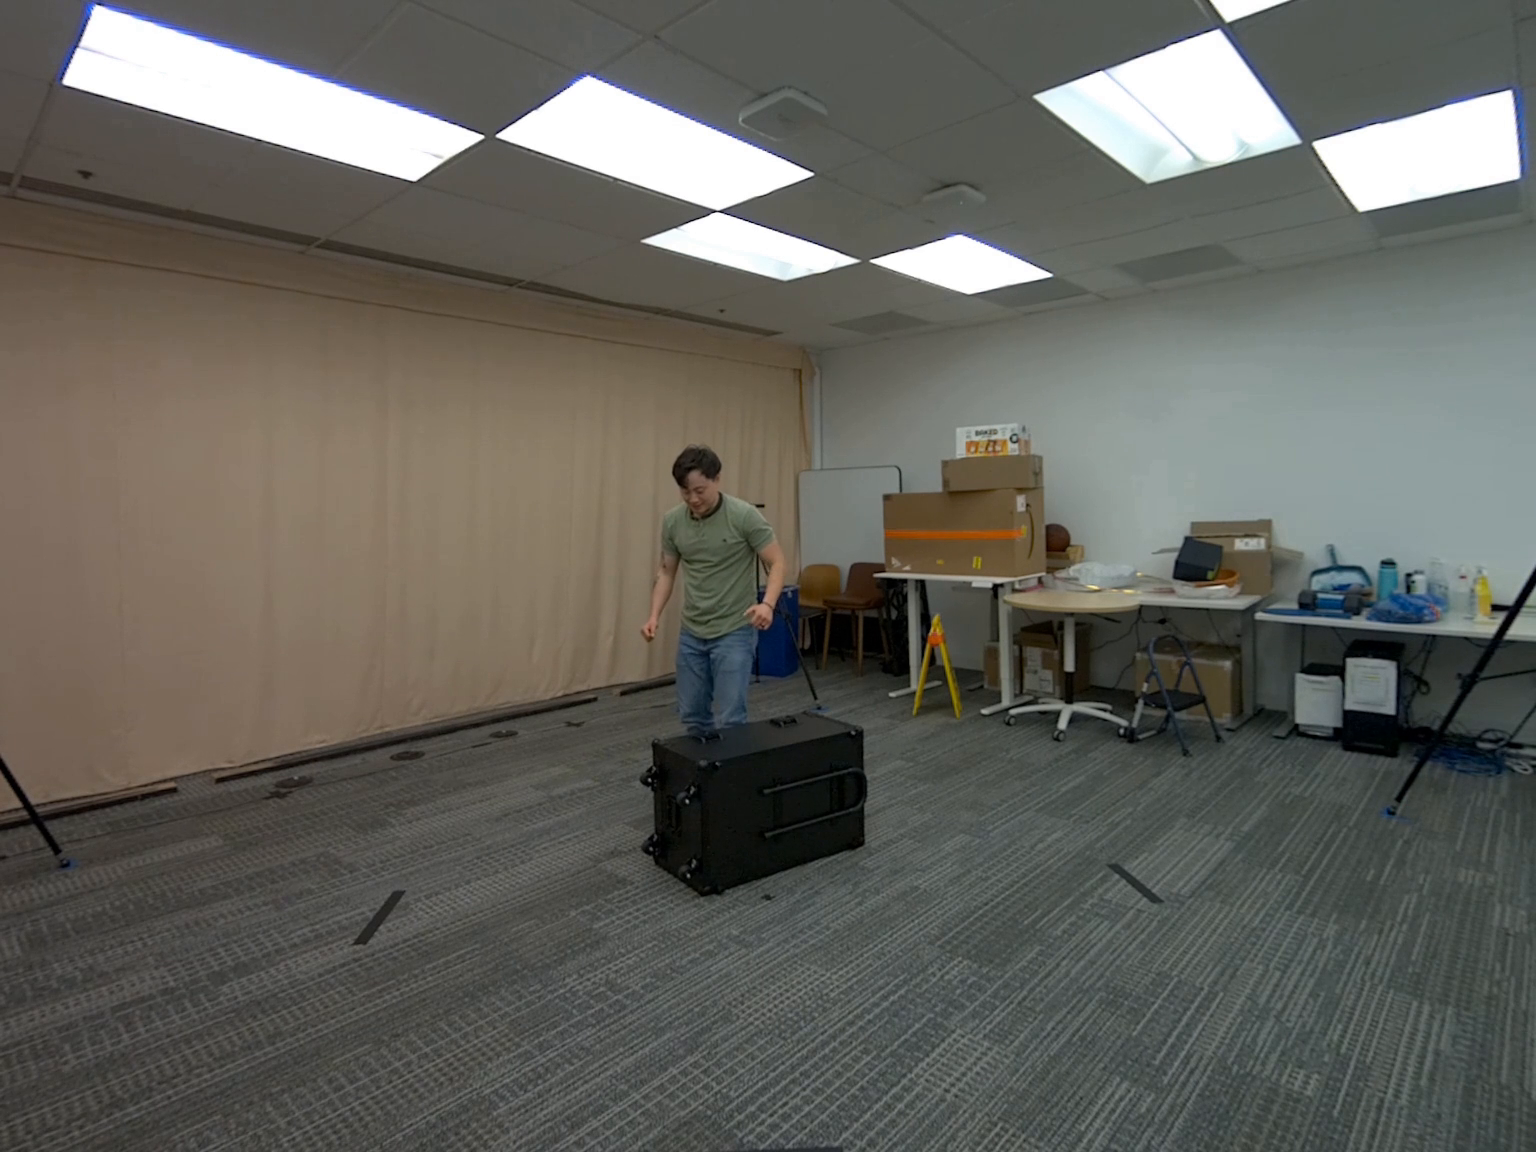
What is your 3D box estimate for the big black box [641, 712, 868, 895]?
[{"bbox_3d":[-0.044,0.871,3.307,0.837,0.520,0.408,-4,5,-34],"label":"big black box"}]
